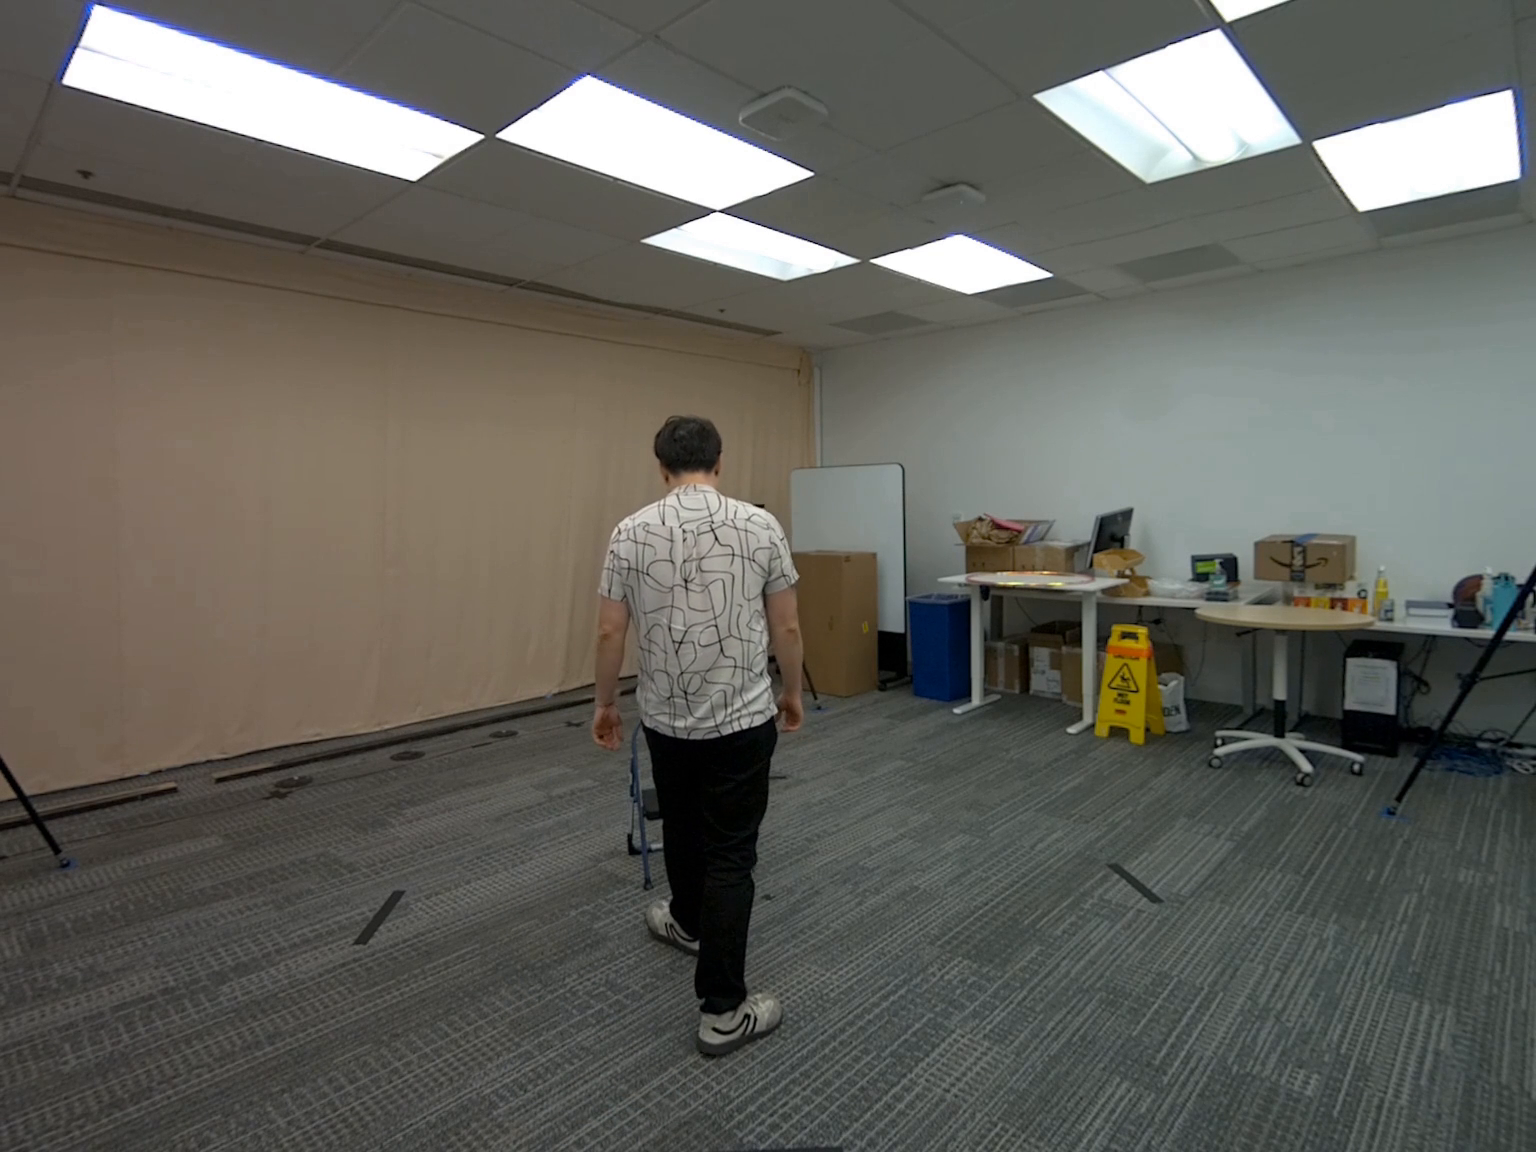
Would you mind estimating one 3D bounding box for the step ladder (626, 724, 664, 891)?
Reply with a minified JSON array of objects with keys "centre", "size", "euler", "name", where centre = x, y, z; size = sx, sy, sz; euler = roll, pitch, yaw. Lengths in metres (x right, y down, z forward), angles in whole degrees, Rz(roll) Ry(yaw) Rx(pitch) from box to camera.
[{"centre":[-0.318,0.821,3.272],"size":[0.422,0.605,0.357],"euler":[-2,4,-20],"name":"step ladder"}]
